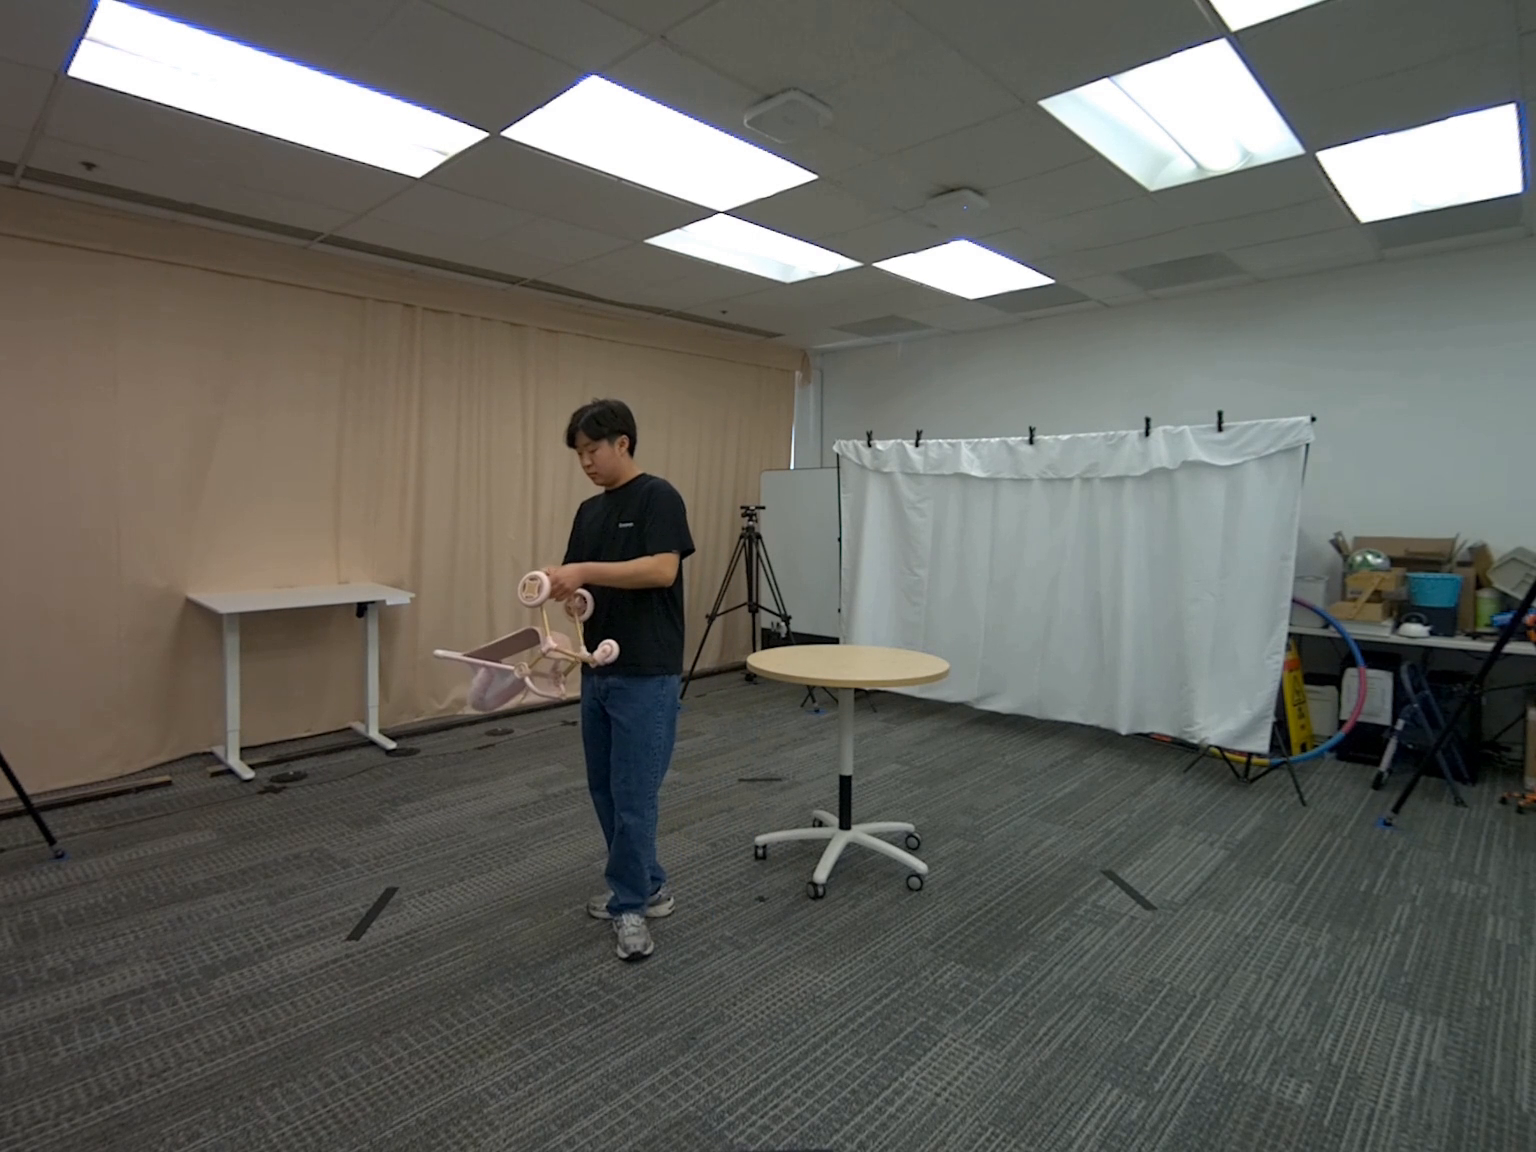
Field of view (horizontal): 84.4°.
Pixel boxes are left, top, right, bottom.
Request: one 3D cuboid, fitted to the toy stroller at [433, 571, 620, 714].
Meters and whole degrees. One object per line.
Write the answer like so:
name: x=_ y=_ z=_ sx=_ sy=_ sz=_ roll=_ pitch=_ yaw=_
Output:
toy stroller: x=-0.717 y=0.244 z=2.548 sx=0.538 sy=0.349 sz=0.274 roll=-33 pitch=-21 yaw=10
